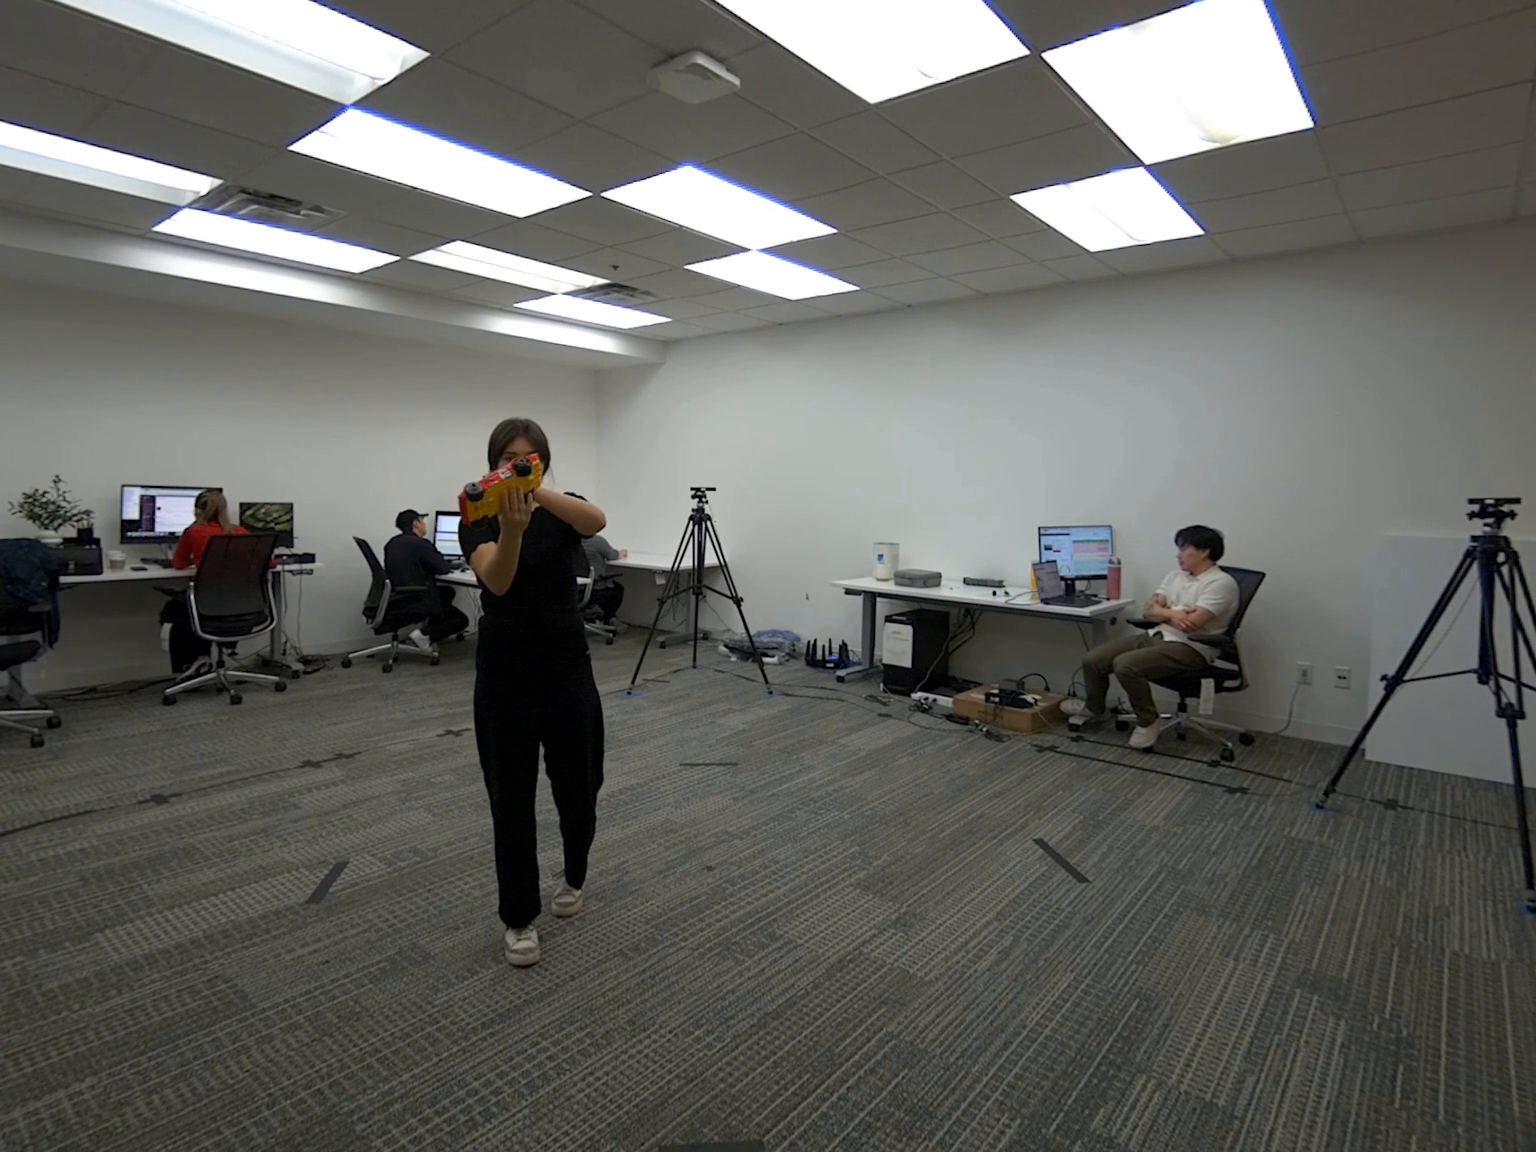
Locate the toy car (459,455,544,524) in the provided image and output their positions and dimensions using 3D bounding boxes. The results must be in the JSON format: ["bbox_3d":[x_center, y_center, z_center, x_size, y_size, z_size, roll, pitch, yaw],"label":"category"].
[{"bbox_3d":[-0.664,-0.219,2.111,0.085,0.127,0.255,22,45,17],"label":"toy car"}]
